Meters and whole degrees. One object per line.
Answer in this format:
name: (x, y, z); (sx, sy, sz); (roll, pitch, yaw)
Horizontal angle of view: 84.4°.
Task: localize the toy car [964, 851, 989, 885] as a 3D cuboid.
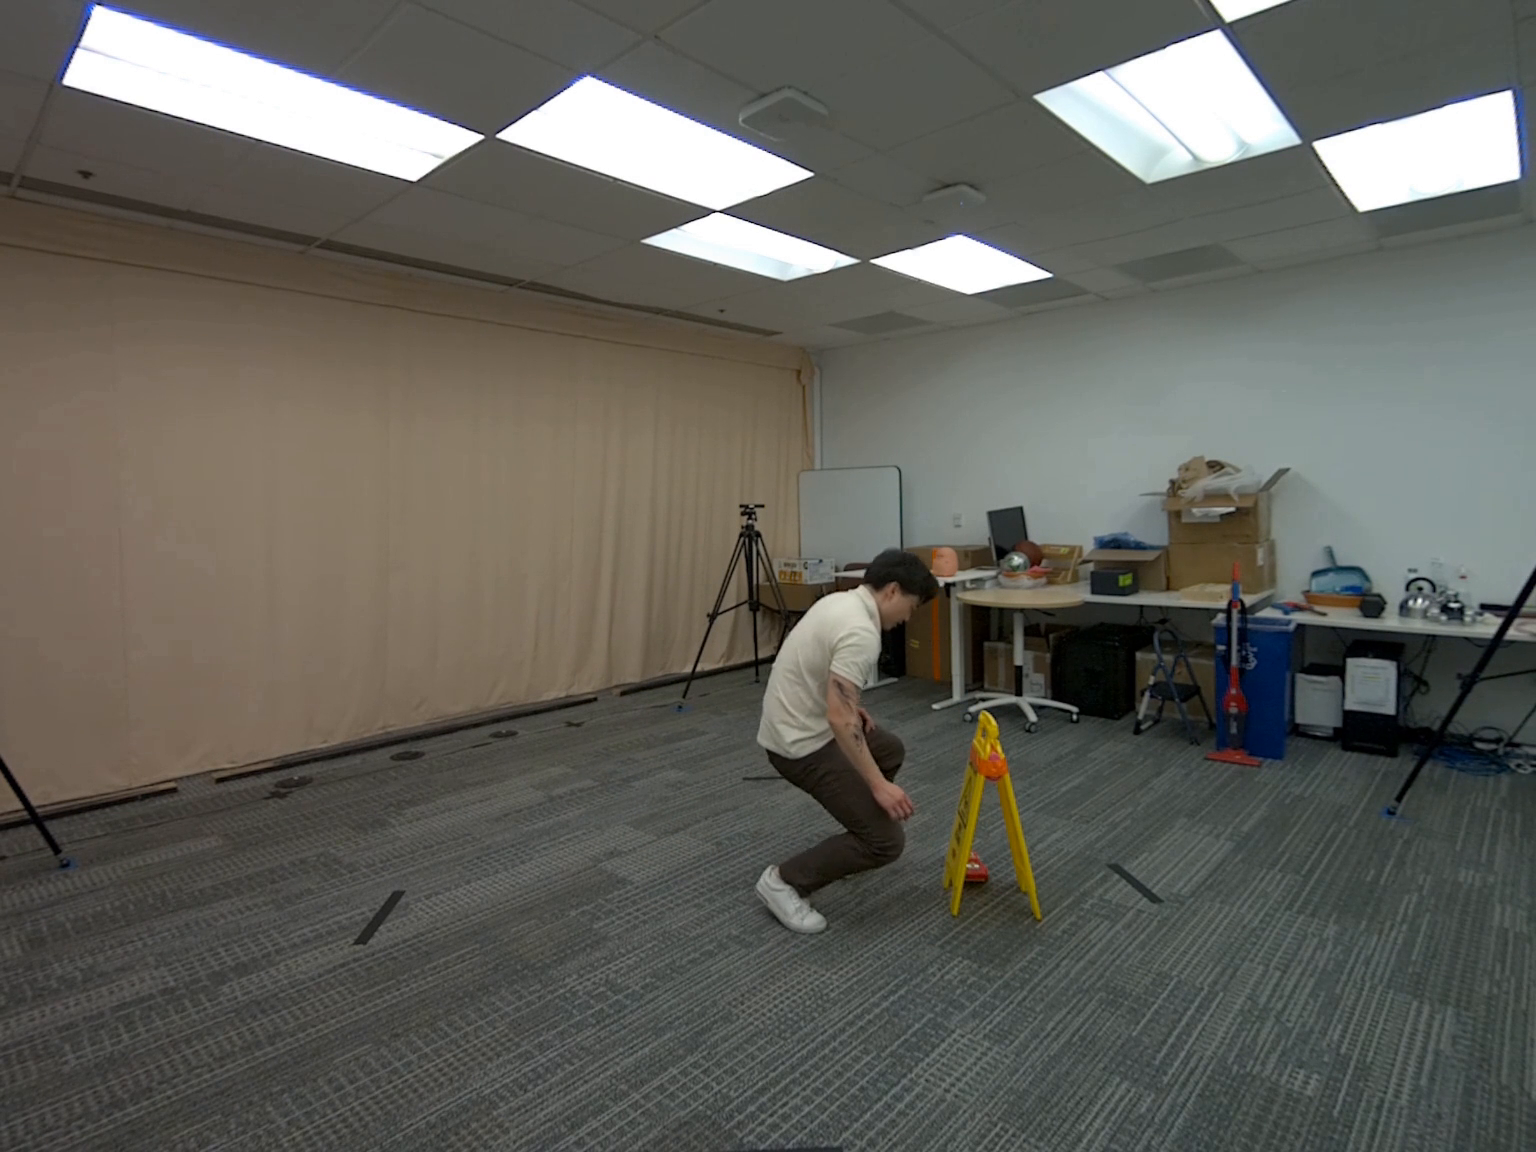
toy car: (0.751, 1.082, 3.131); (0.131, 0.083, 0.252); (1, -6, 2)
